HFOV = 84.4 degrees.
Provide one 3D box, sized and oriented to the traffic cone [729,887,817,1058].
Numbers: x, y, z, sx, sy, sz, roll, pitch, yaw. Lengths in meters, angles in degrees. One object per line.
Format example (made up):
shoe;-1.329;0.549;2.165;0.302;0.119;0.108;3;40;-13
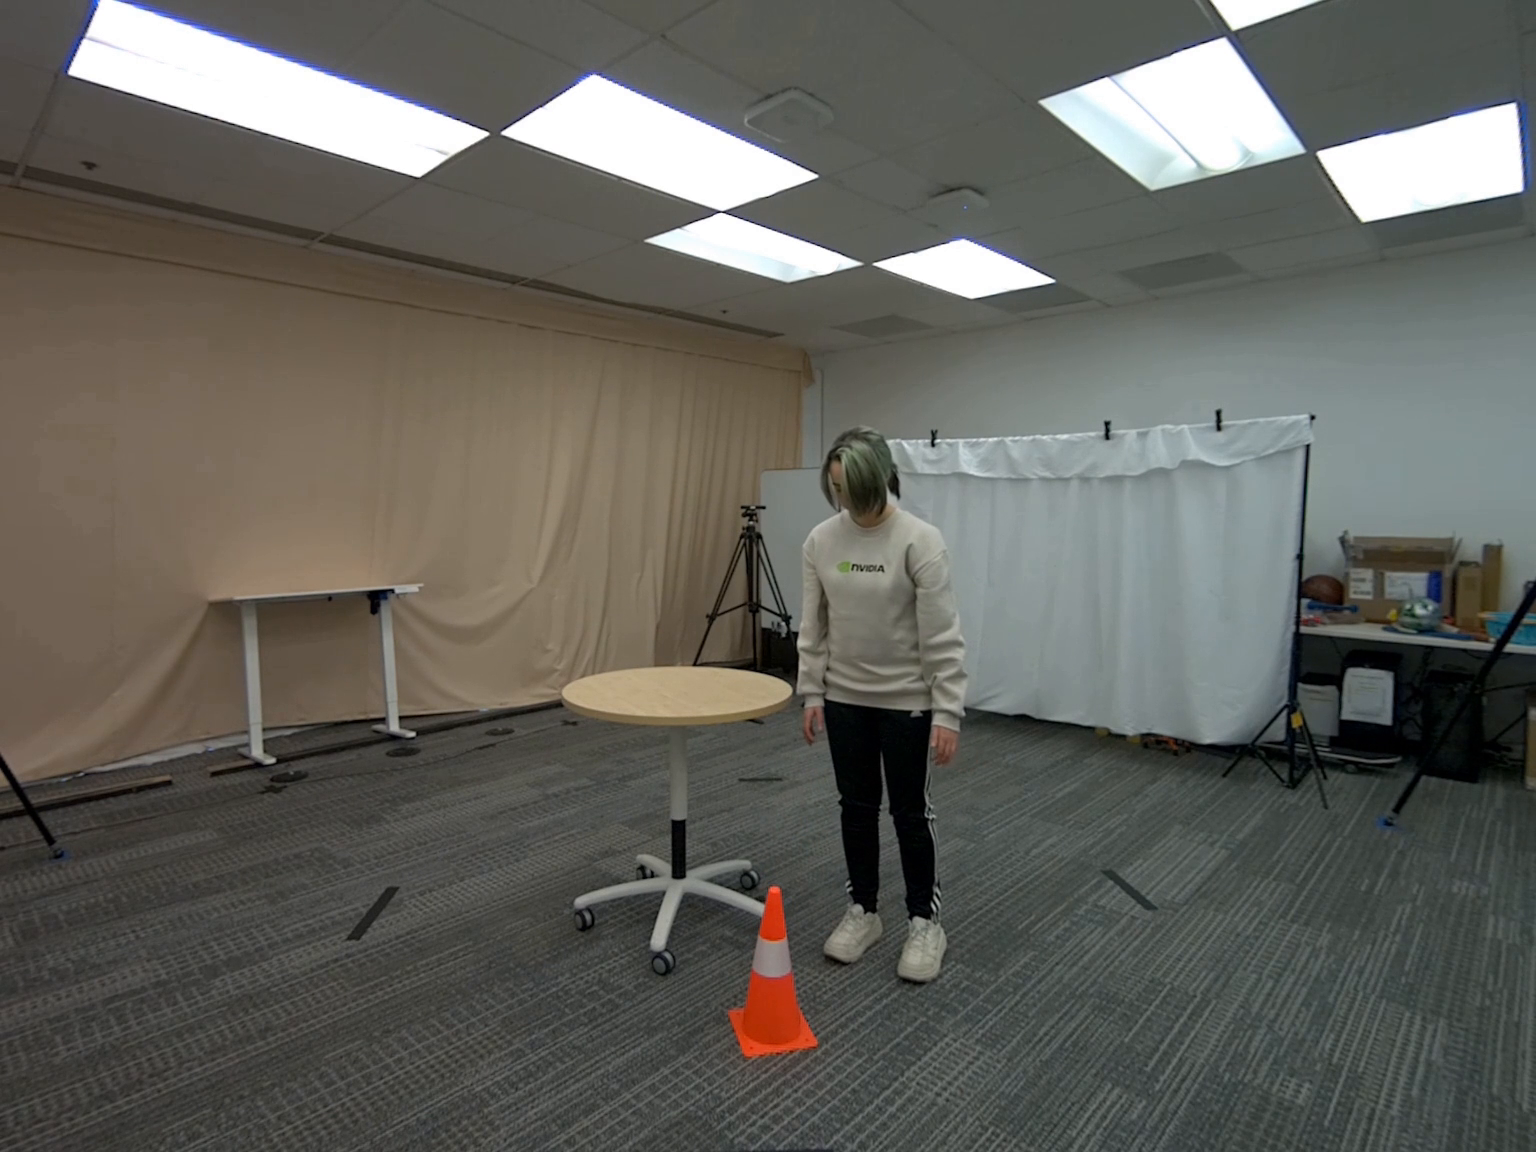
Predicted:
traffic cone;0.014;1.023;2.231;0.203;0.383;0.206;0;2;-11
